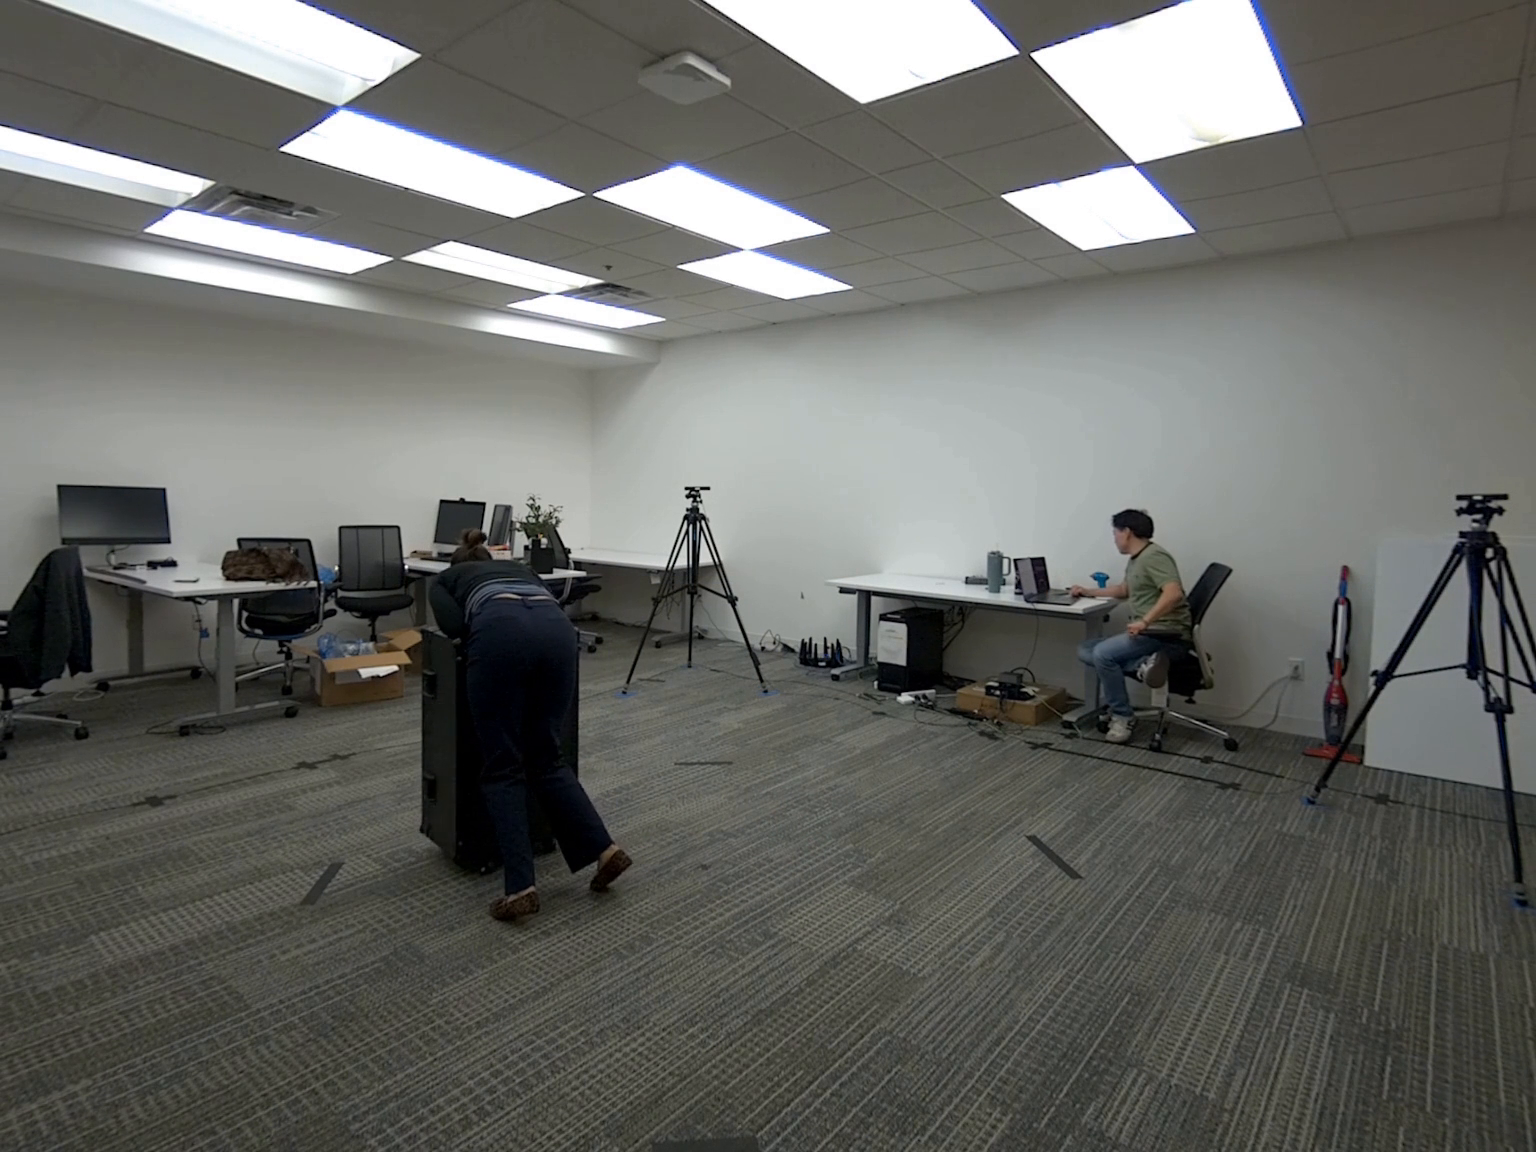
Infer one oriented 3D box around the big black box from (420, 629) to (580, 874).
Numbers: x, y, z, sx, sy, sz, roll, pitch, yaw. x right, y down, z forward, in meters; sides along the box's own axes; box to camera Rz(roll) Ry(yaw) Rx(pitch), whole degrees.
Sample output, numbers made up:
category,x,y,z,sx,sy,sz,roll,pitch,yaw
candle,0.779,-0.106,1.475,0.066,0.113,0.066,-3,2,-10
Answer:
category,x,y,z,sx,sy,sz,roll,pitch,yaw
big black box,-1.016,0.622,3.214,0.505,0.859,0.410,0,3,-39
